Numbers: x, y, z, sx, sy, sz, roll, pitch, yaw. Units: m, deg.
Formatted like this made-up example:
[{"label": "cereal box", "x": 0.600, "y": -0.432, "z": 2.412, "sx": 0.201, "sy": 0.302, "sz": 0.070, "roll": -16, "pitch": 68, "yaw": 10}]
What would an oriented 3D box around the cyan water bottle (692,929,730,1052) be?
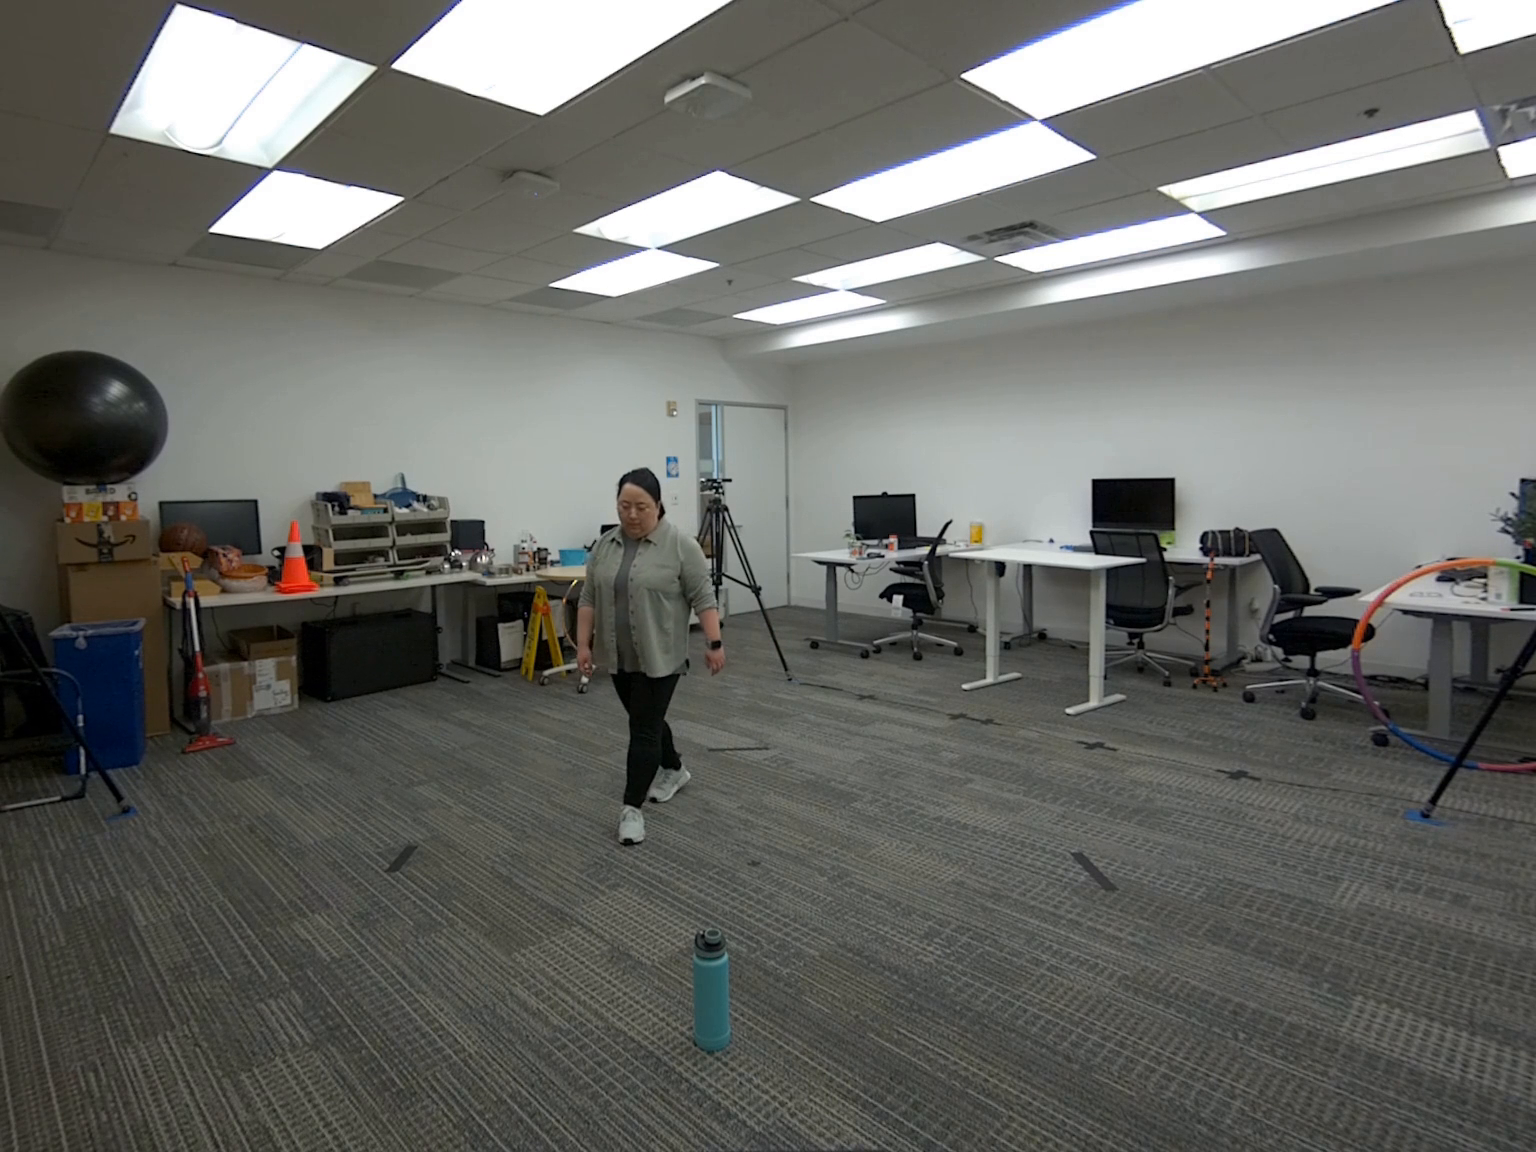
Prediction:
[{"label": "cyan water bottle", "x": -0.138, "y": 1.024, "z": 2.124, "sx": 0.092, "sy": 0.282, "sz": 0.093, "roll": -3, "pitch": 4, "yaw": -1}]
